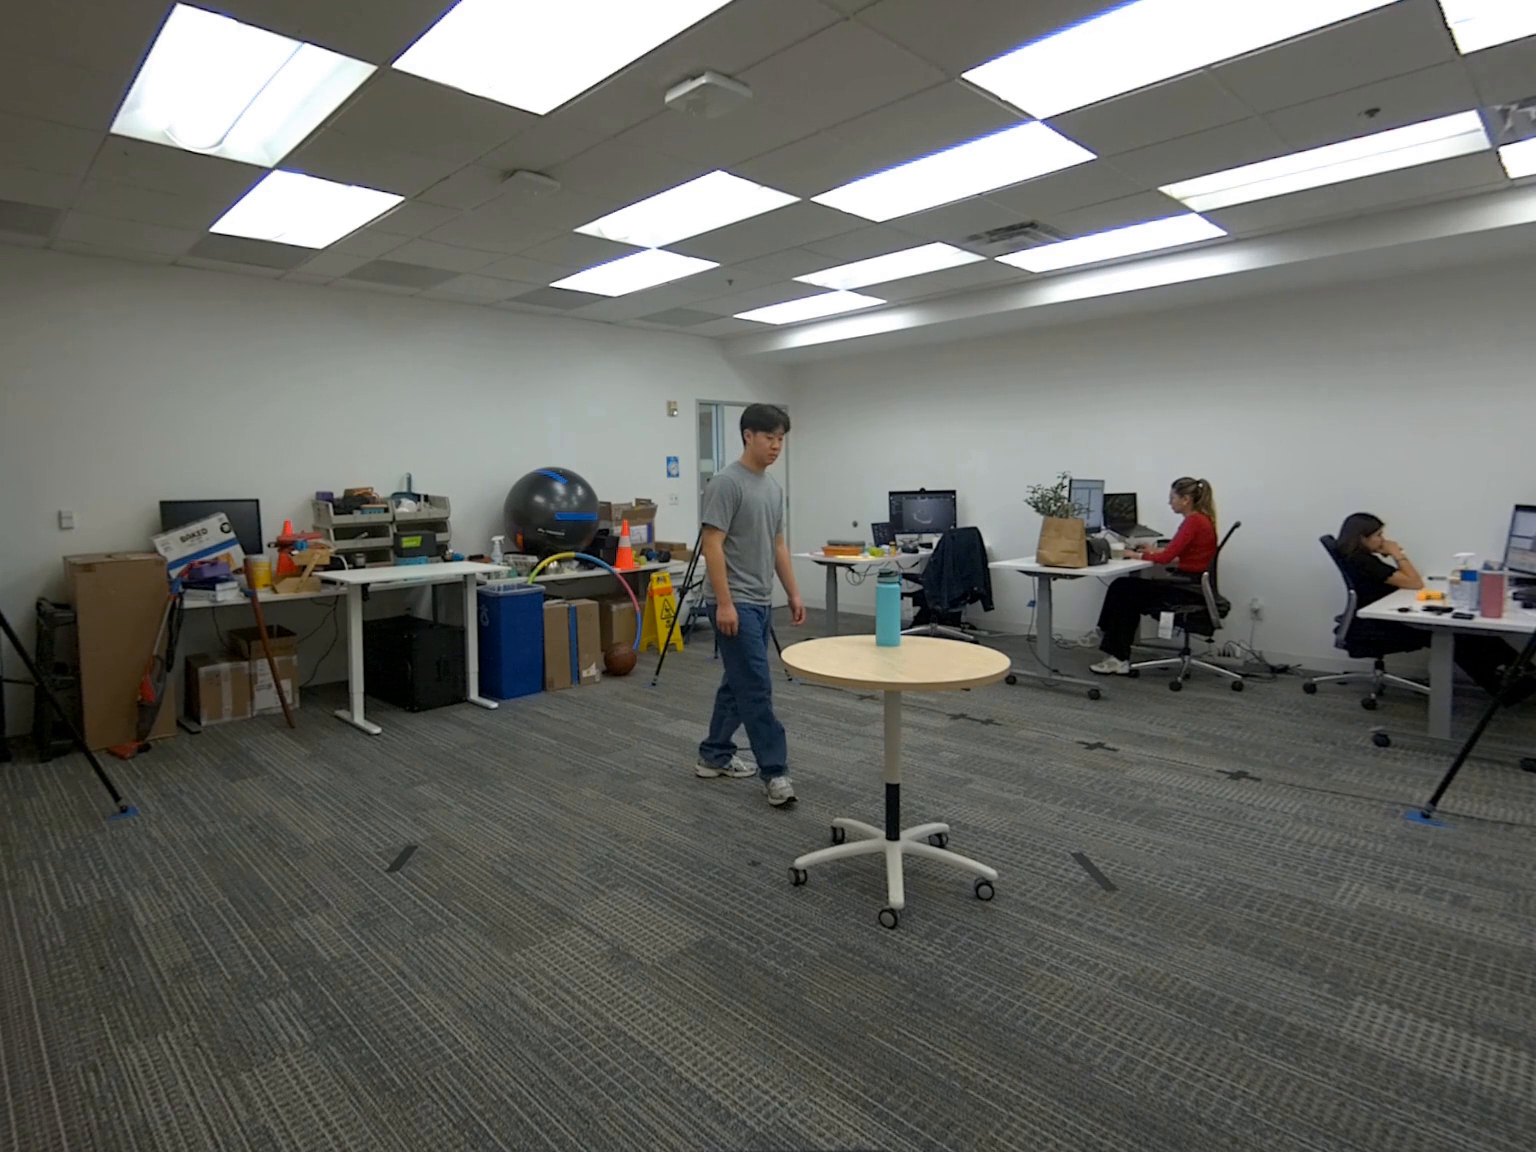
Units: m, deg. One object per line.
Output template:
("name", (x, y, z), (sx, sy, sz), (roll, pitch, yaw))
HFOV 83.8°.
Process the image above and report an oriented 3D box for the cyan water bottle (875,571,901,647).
("cyan water bottle", (0.449, 0.113, 3.117), (0.092, 0.283, 0.092), (0, 2, -2))
